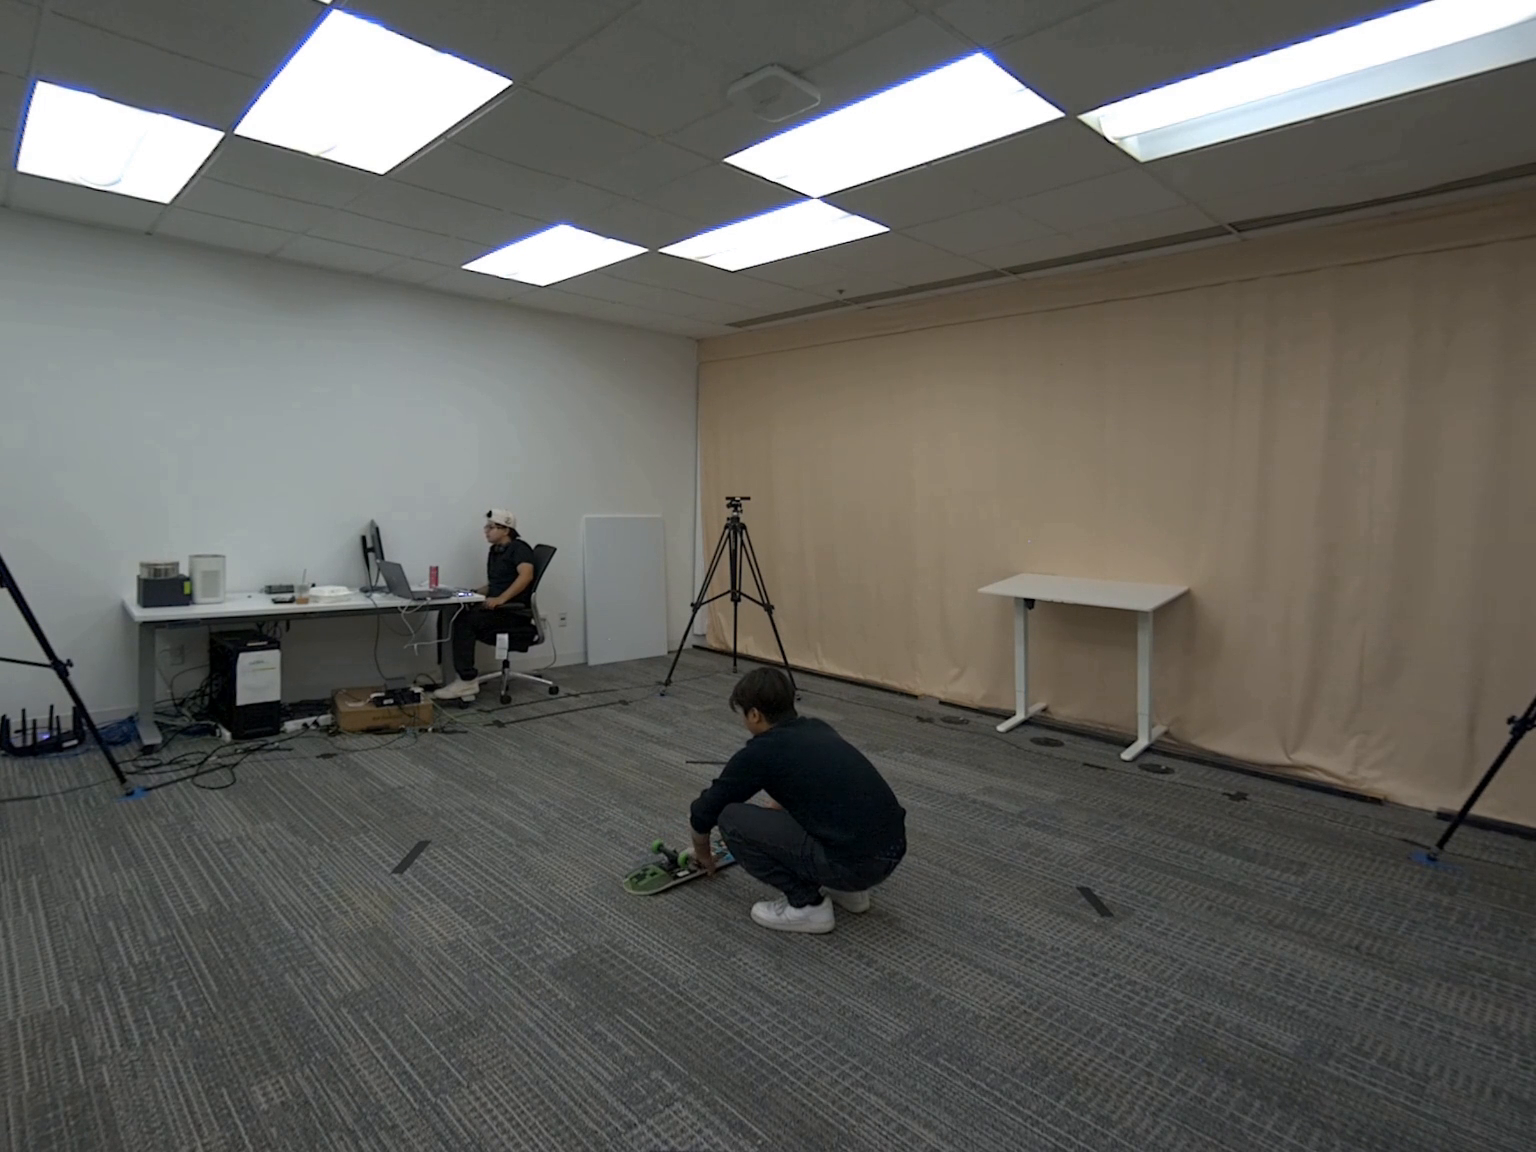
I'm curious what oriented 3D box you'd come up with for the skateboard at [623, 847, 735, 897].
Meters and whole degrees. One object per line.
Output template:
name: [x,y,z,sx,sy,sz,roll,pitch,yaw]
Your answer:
skateboard: [-0.229,1.049,3.232,0.768,0.110,0.198,-4,5,-44]
